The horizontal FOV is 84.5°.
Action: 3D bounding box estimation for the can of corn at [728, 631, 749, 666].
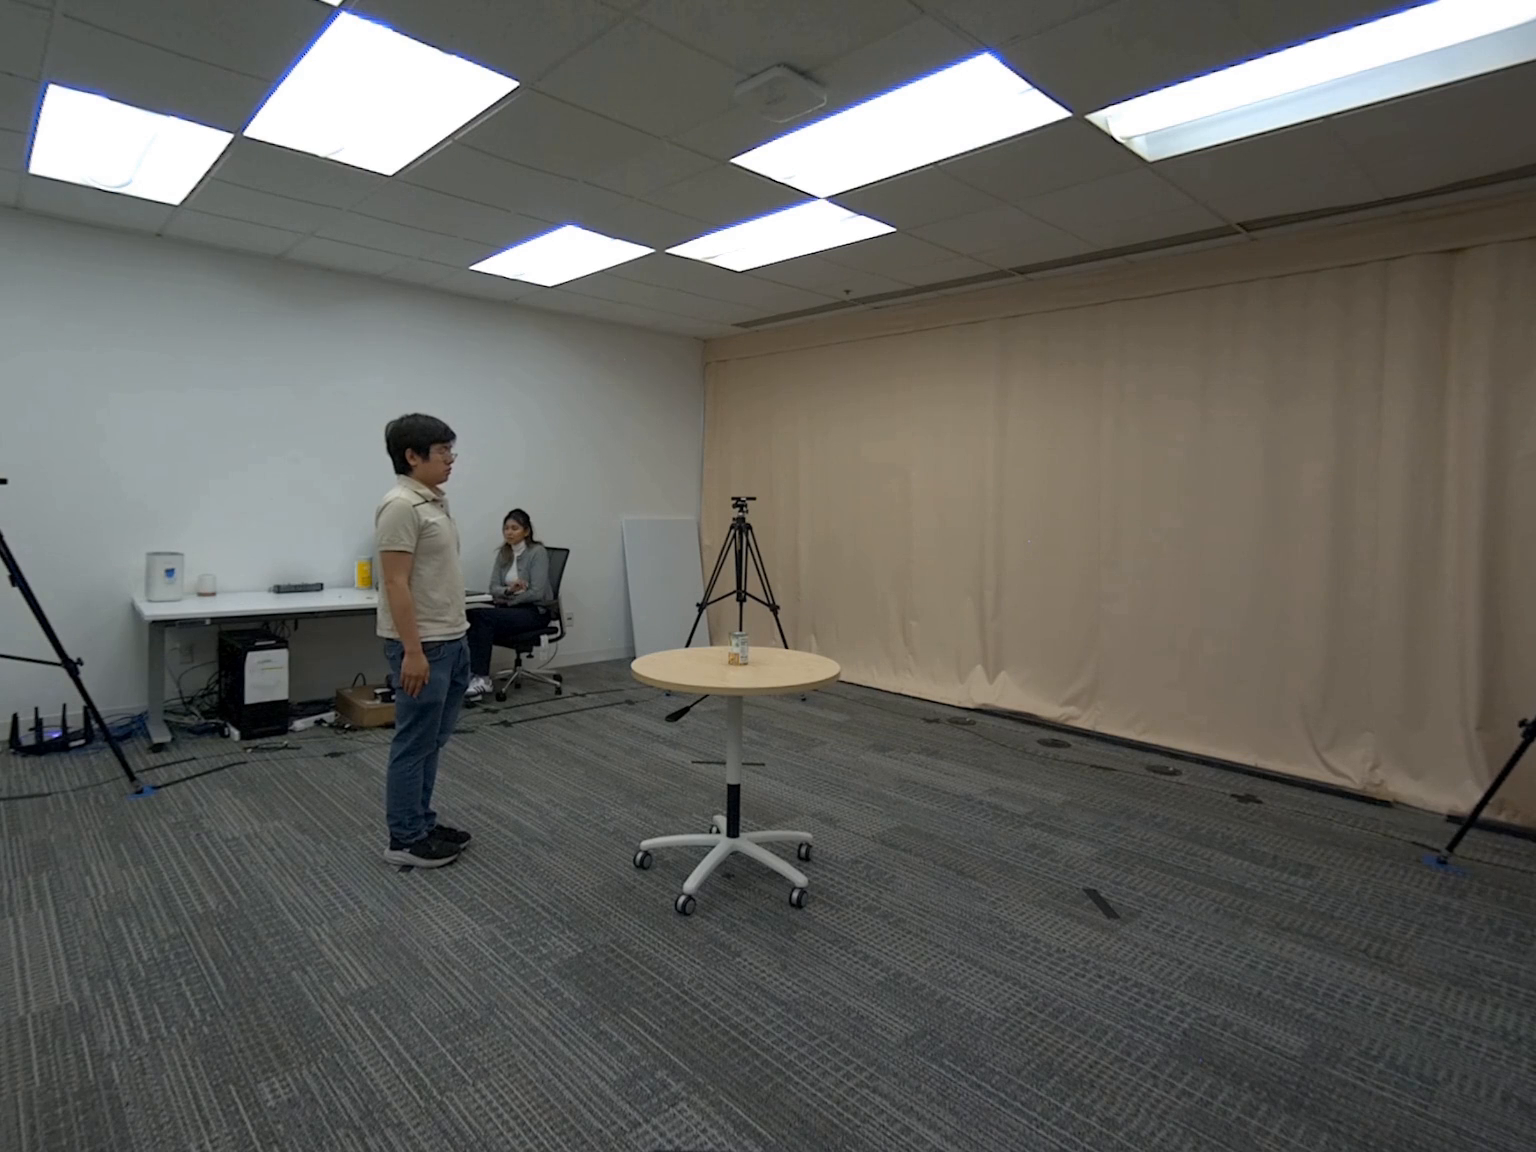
[{"bbox_3d":[-0.118,0.266,3.103,0.074,0.111,0.074,0,4,-1],"label":"can of corn"}]
